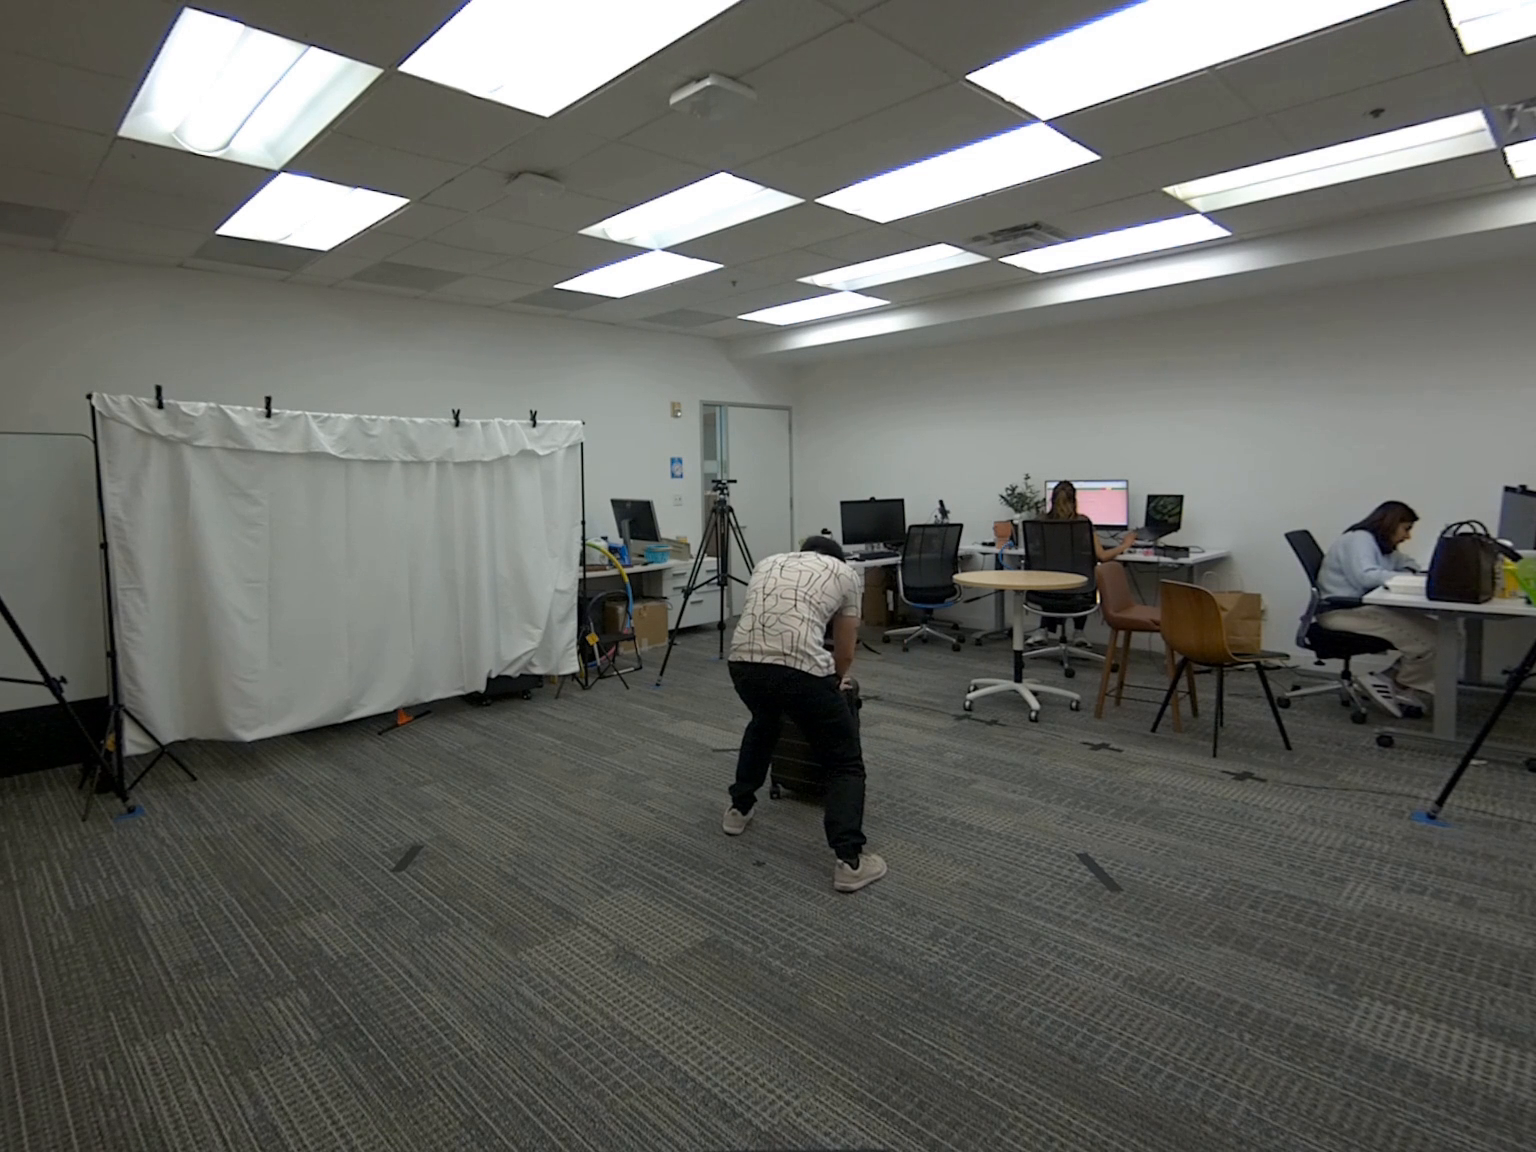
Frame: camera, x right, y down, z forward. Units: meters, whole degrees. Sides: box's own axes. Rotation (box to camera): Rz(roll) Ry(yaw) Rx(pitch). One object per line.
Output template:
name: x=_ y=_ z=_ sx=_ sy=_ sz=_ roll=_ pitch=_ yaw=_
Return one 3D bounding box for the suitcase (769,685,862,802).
suitcase: x=0.212 y=0.697 z=3.764 sx=0.386 sy=0.548 sz=0.242 roll=2 pitch=3 yaw=34
